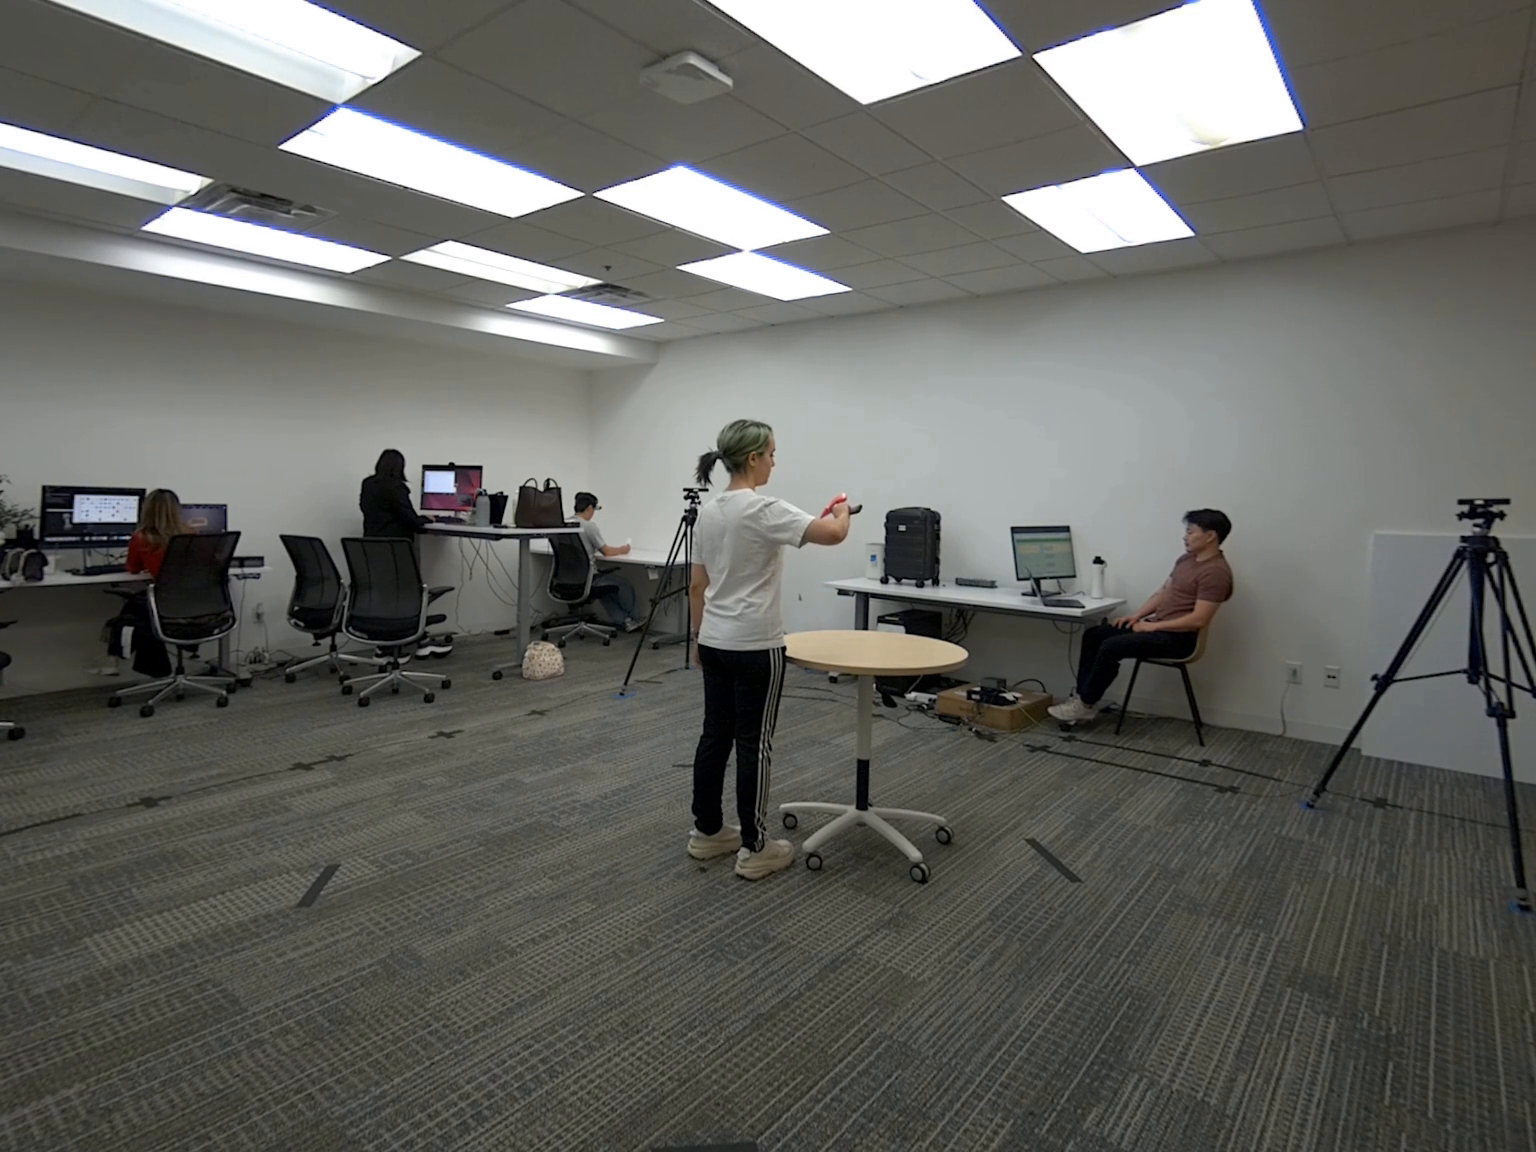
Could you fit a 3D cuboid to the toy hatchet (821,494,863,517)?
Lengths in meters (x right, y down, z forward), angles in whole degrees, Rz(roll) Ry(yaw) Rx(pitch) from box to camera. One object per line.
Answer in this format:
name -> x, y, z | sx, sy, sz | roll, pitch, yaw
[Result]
toy hatchet -> 0.288, -0.275, 3.194 | 0.029, 0.131, 0.276 | 42, -18, -19
